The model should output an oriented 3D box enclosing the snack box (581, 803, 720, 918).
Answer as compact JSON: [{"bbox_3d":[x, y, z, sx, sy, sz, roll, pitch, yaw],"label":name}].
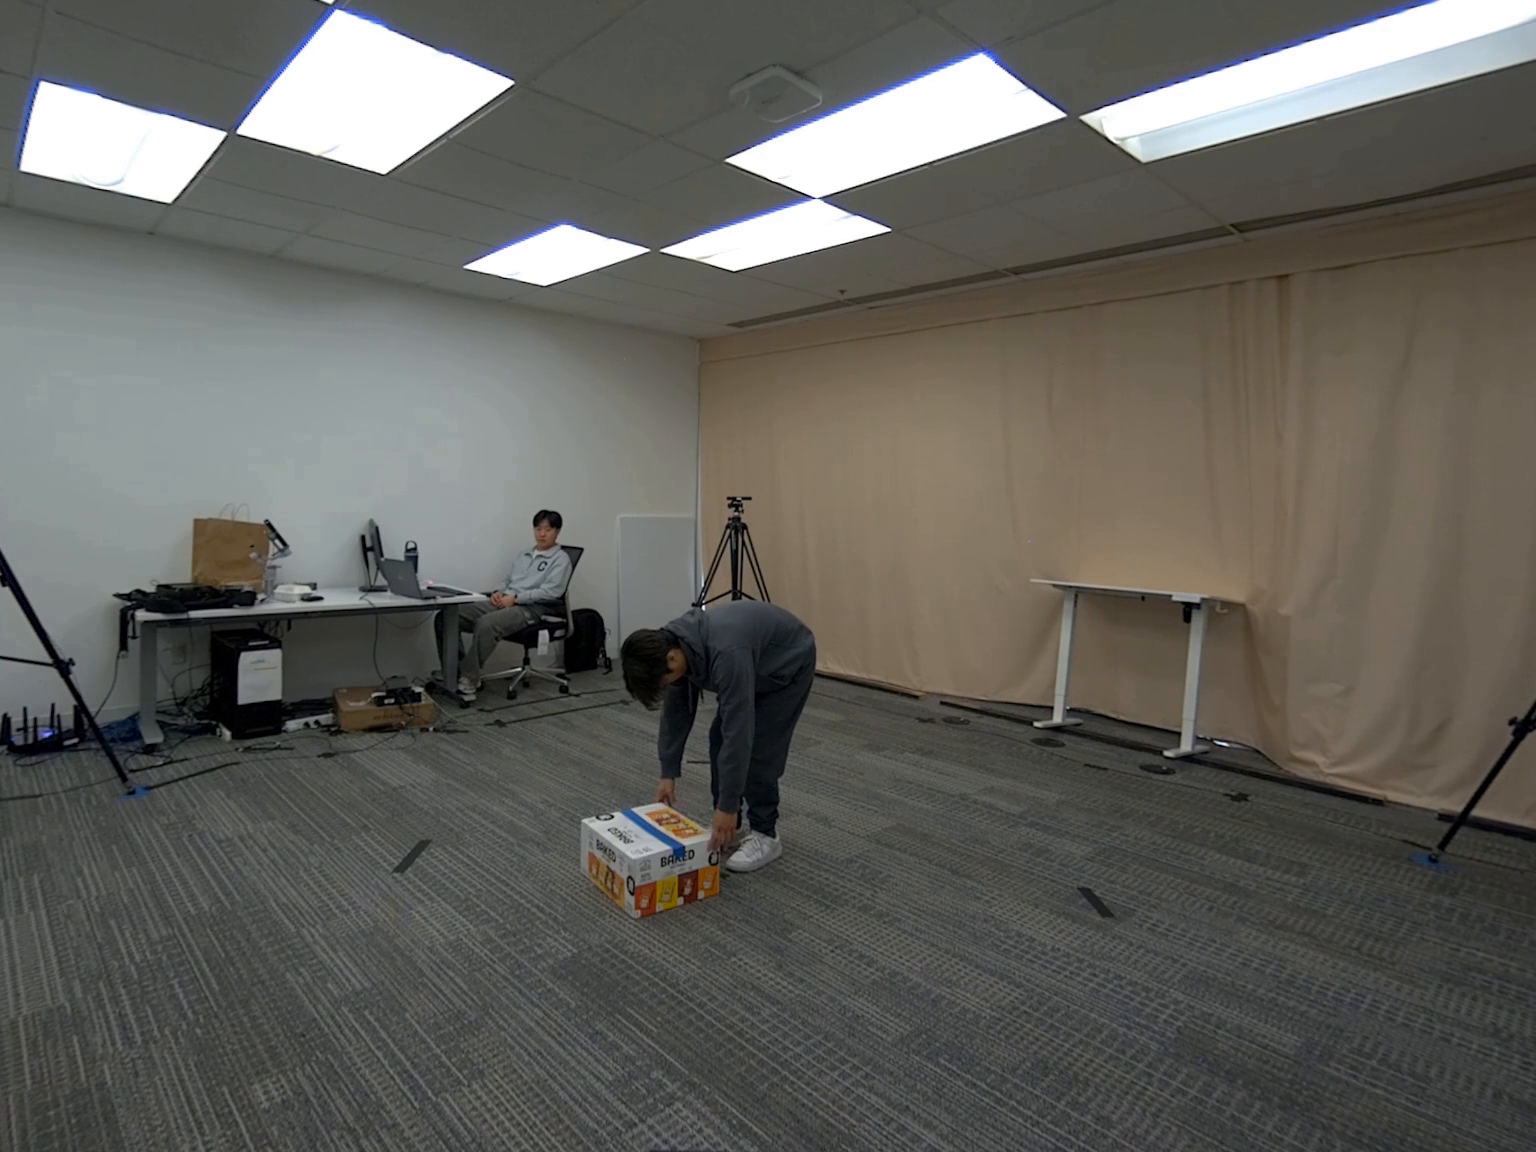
[{"bbox_3d":[-0.435,1.008,3.015,0.333,0.205,0.415,-2,6,-37],"label":"snack box"}]
